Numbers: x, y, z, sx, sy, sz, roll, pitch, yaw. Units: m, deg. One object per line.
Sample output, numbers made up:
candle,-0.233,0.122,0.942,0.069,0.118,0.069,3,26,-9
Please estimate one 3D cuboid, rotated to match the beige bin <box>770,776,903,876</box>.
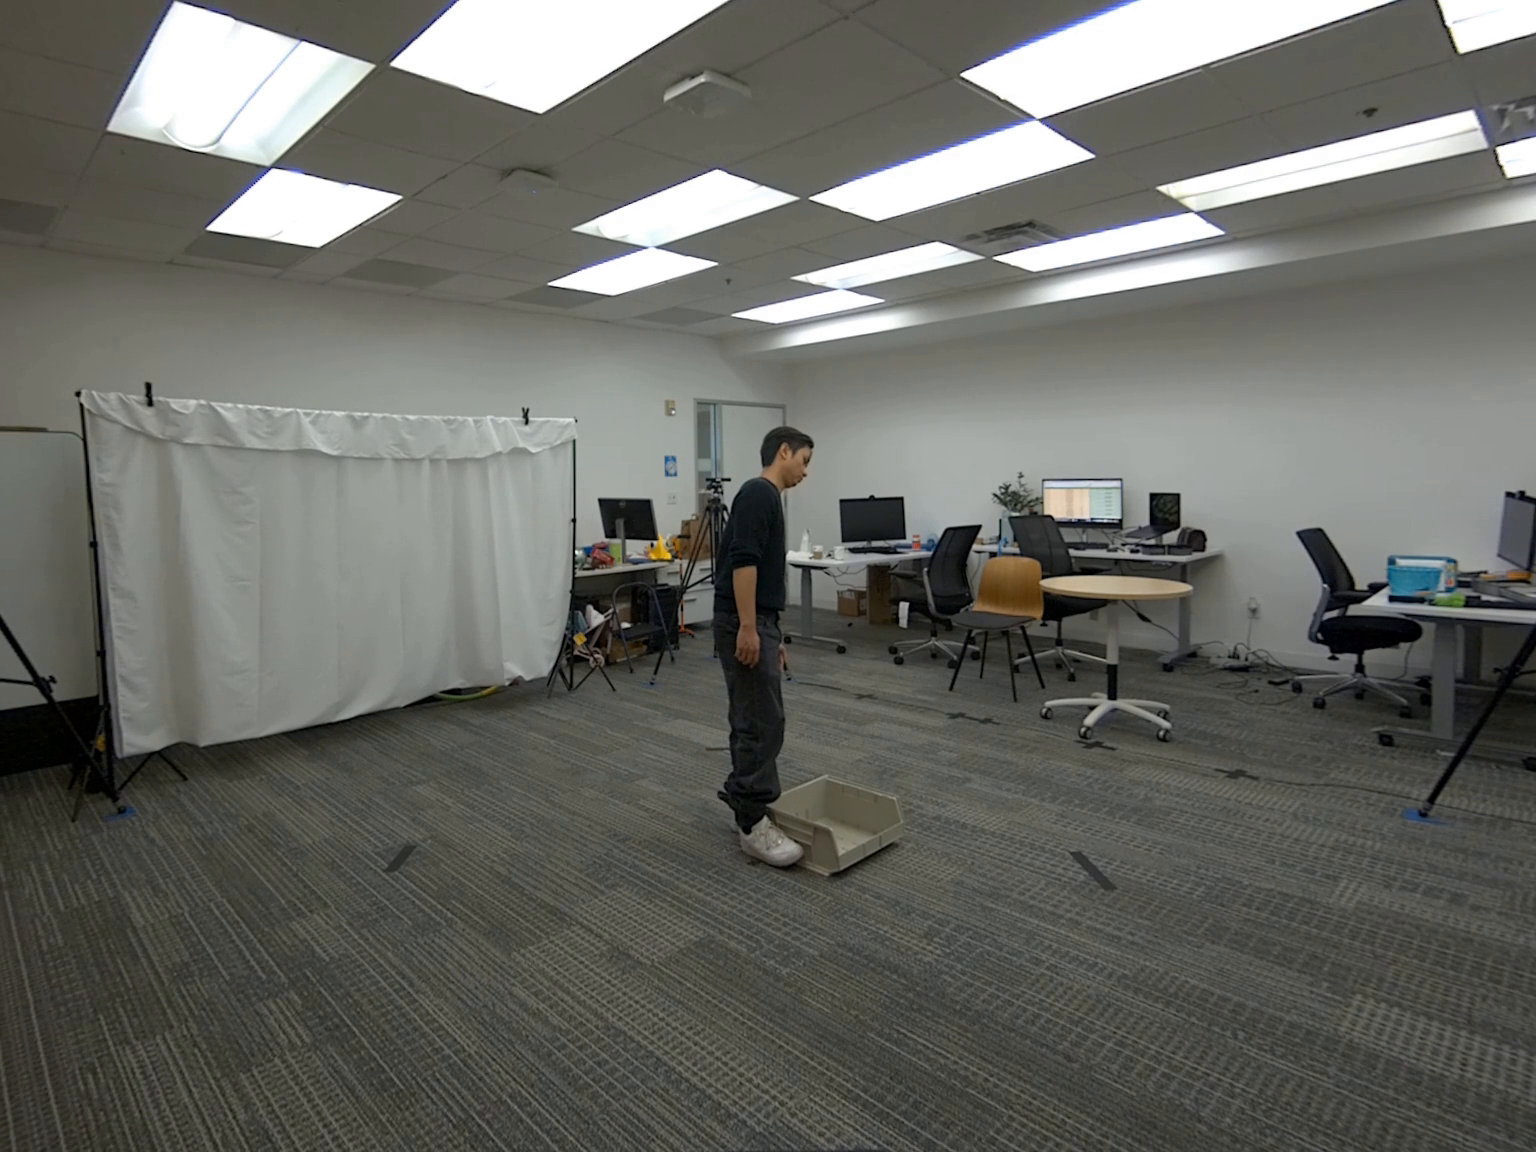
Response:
beige bin,0.244,0.936,3.220,0.389,0.188,0.411,3,8,43
